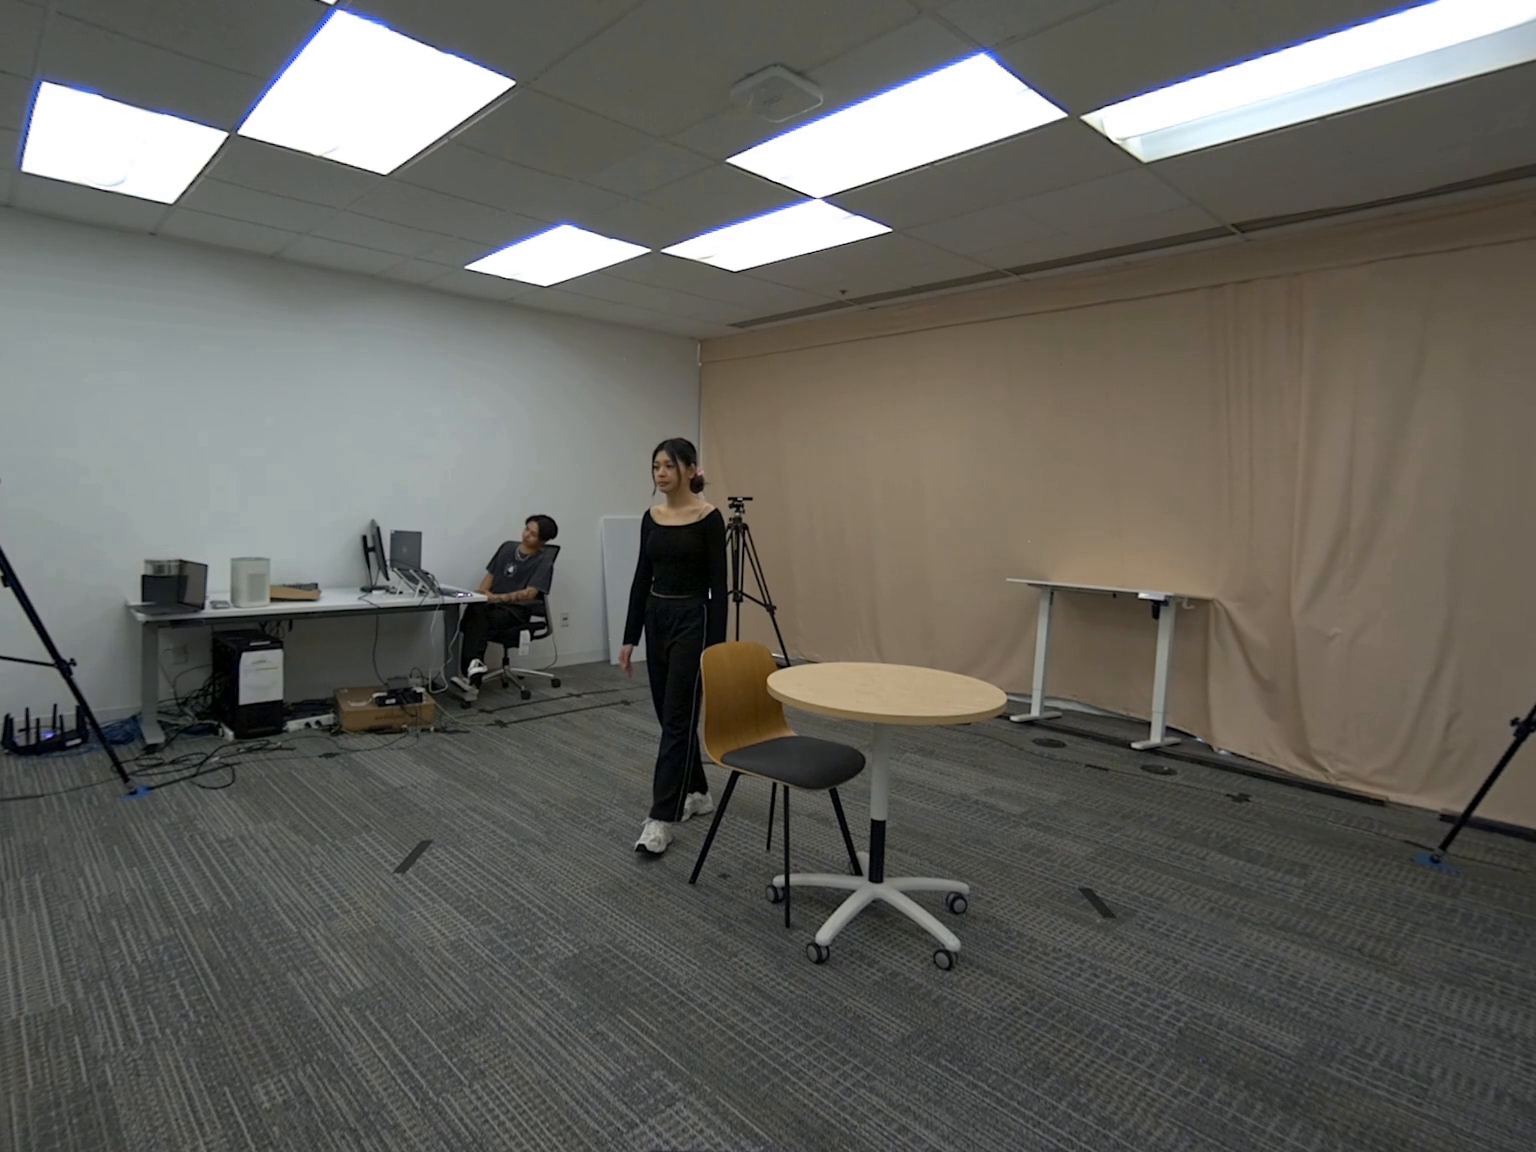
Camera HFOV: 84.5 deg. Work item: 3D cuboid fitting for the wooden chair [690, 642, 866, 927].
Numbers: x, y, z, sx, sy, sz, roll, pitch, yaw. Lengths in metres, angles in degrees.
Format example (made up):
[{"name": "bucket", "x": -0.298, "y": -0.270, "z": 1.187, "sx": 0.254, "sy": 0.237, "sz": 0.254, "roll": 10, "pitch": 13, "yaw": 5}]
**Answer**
[{"name": "wooden chair", "x": 0.045, "y": 0.693, "z": 3.011, "sx": 0.535, "sy": 0.877, "sz": 0.467, "roll": -1, "pitch": 0, "yaw": 42}]
